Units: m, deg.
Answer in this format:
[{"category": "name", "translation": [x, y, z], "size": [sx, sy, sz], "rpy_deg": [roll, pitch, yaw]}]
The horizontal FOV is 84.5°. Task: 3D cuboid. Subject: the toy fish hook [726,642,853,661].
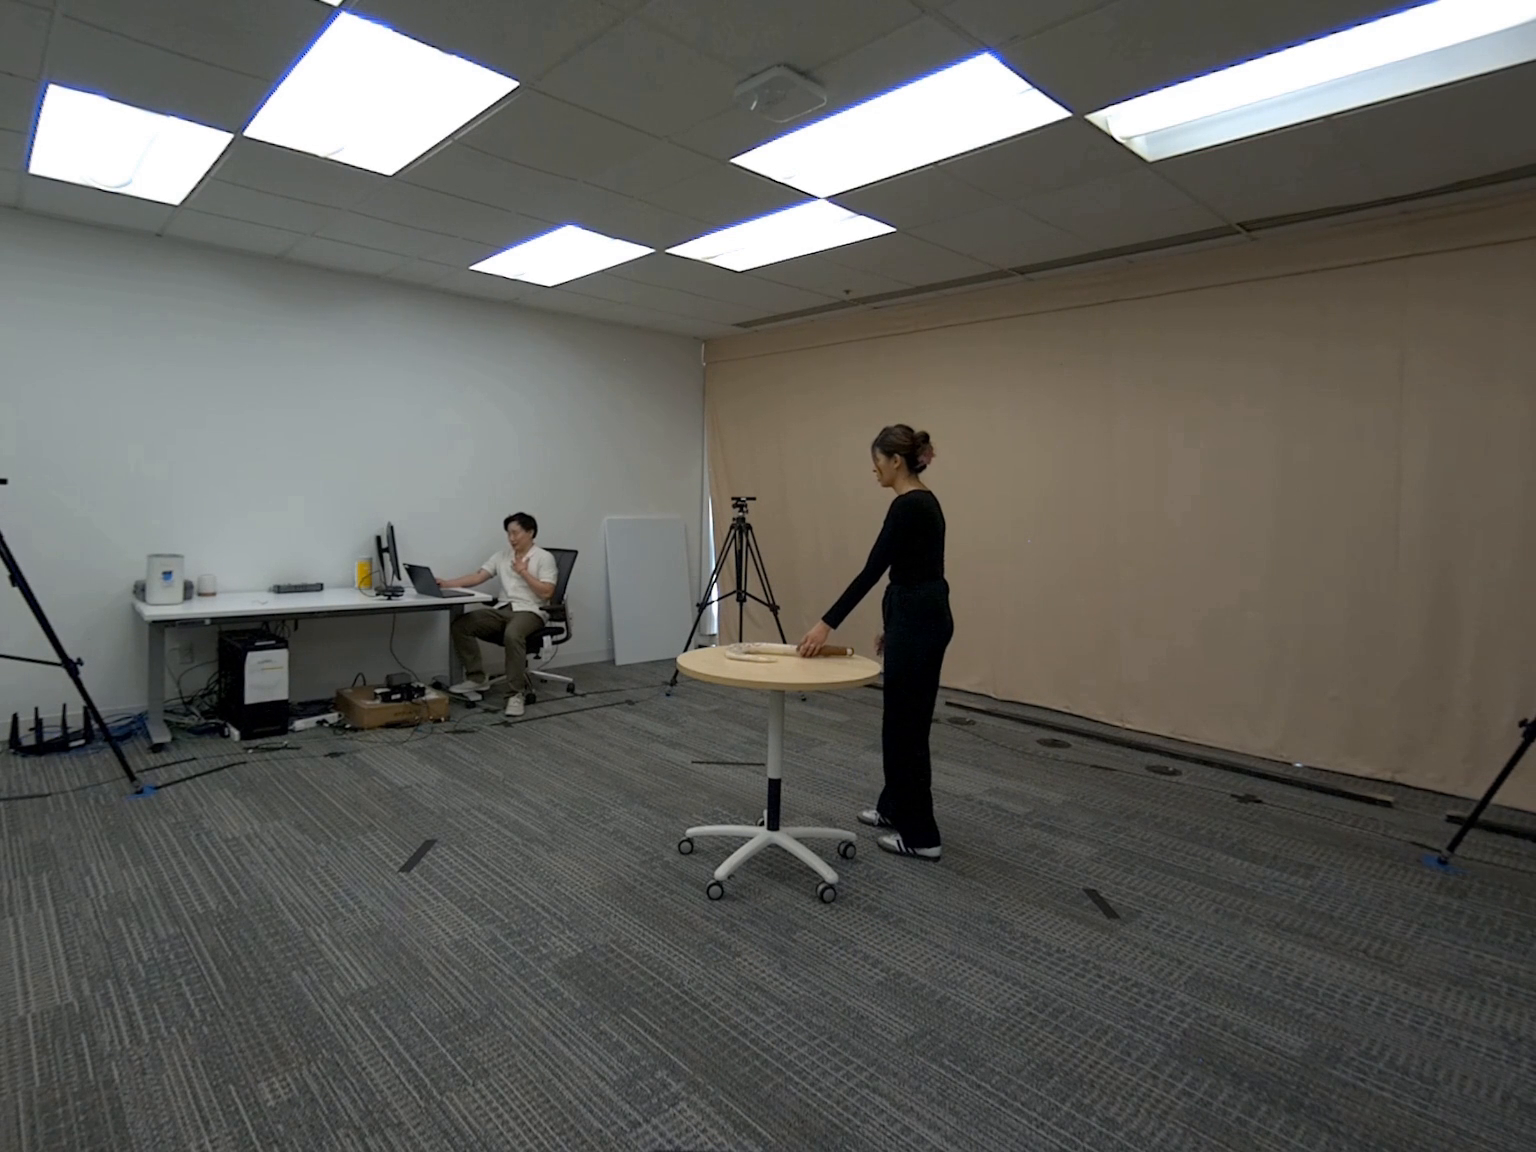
[{"category": "toy fish hook", "translation": [0.091, 0.309, 3.247], "size": [0.506, 0.048, 0.227], "rpy_deg": [0, 13, -2]}]
